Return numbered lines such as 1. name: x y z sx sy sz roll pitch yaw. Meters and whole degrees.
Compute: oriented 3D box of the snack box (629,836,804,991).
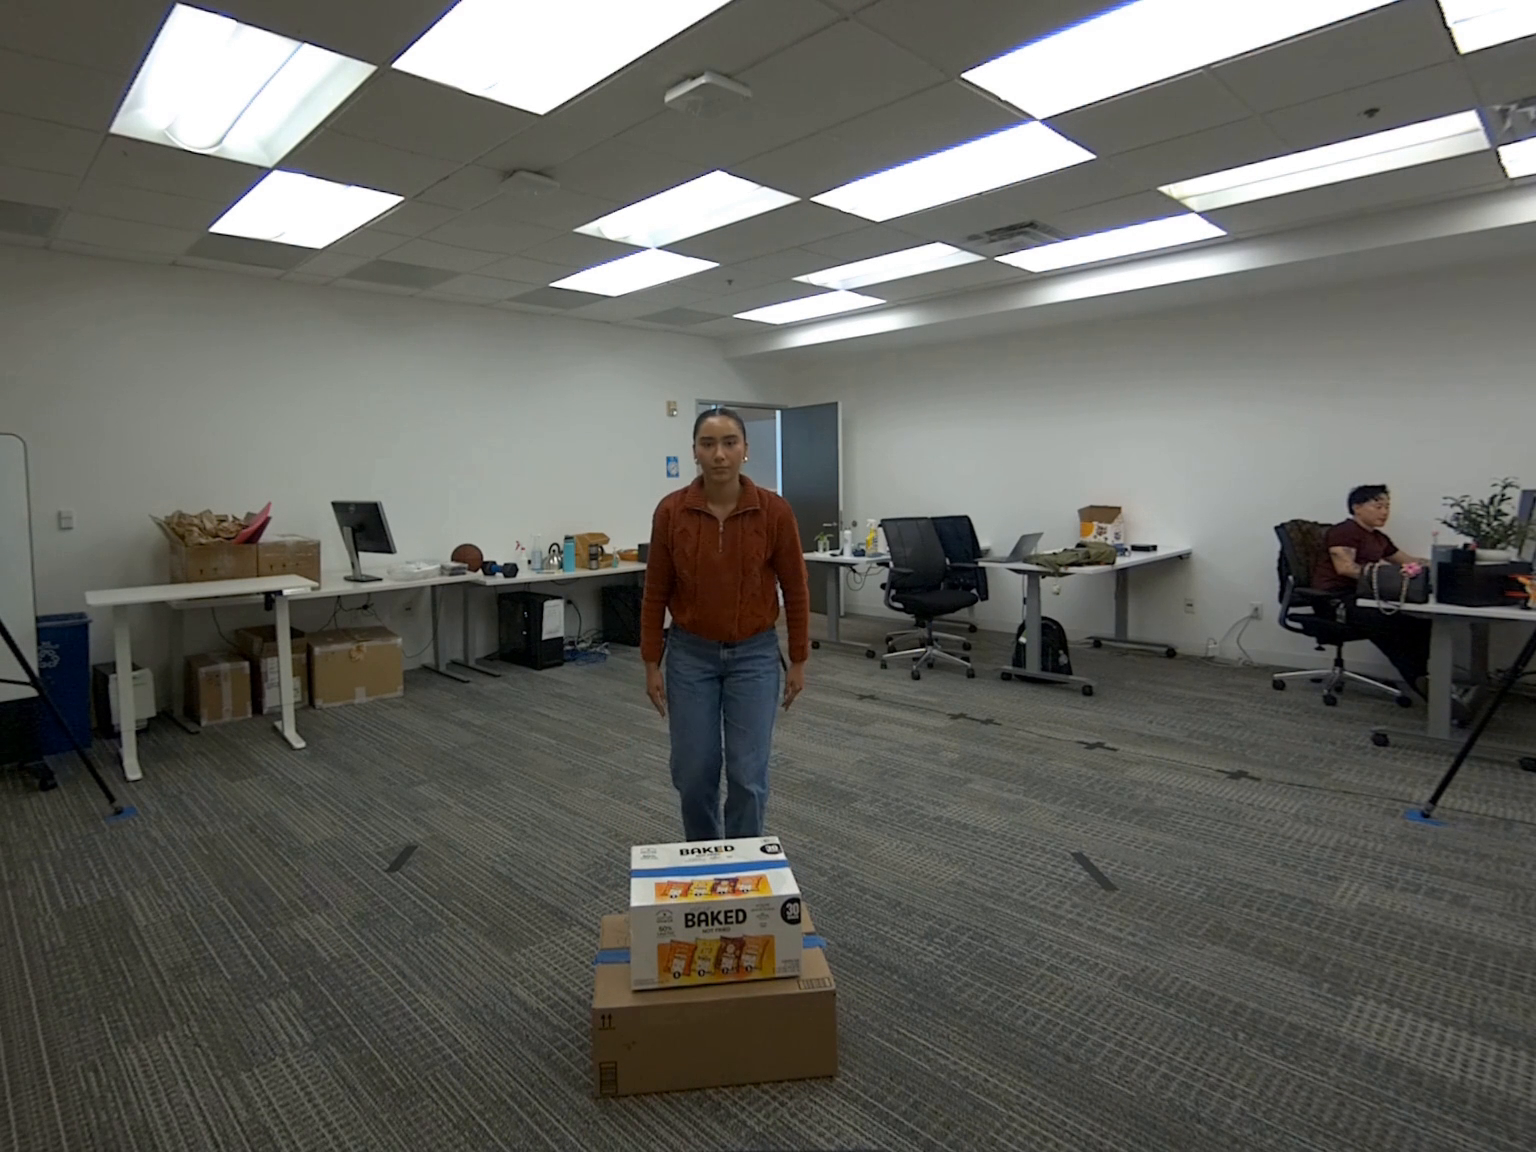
1. snack box: -0.143 0.843 2.156 0.403 0.205 0.344 -2 5 -7
